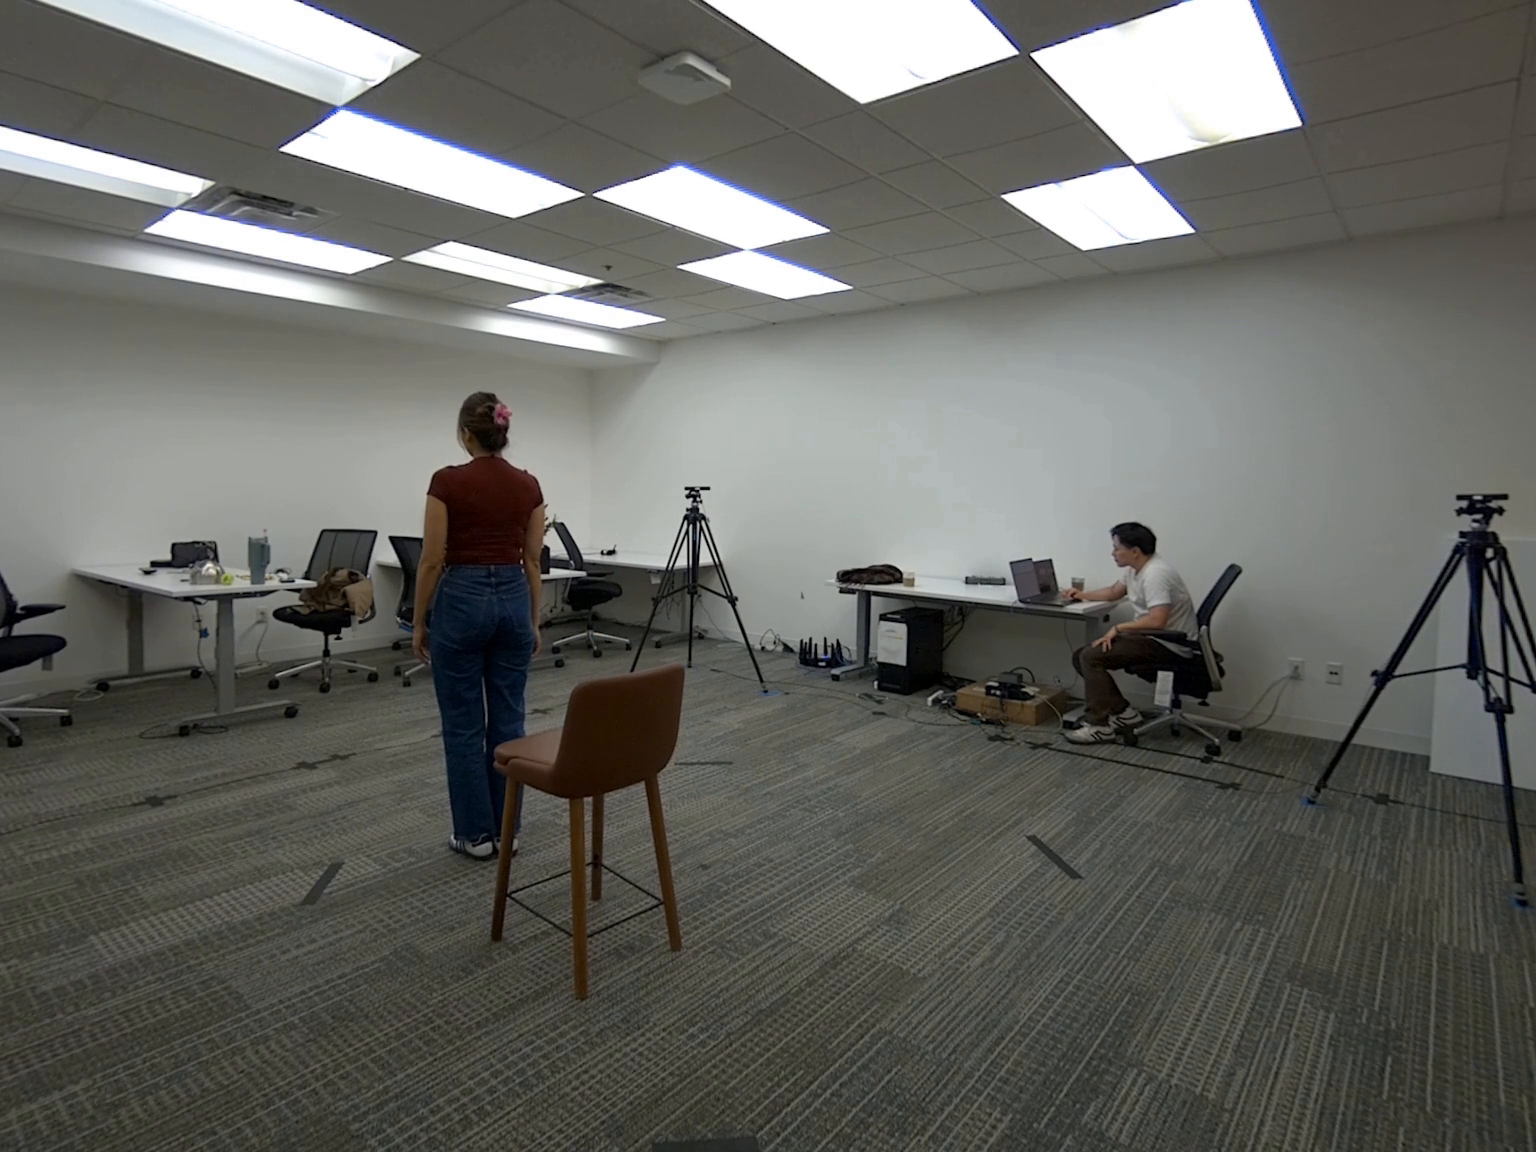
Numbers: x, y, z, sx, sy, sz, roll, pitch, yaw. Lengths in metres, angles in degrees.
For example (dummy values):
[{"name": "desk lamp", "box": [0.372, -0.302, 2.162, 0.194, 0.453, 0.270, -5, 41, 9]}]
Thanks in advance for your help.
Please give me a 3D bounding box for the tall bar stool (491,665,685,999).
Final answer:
[{"name": "tall bar stool", "box": [-0.549, 0.682, 2.554, 0.484, 0.886, 0.443, 6, 6, 43]}]
